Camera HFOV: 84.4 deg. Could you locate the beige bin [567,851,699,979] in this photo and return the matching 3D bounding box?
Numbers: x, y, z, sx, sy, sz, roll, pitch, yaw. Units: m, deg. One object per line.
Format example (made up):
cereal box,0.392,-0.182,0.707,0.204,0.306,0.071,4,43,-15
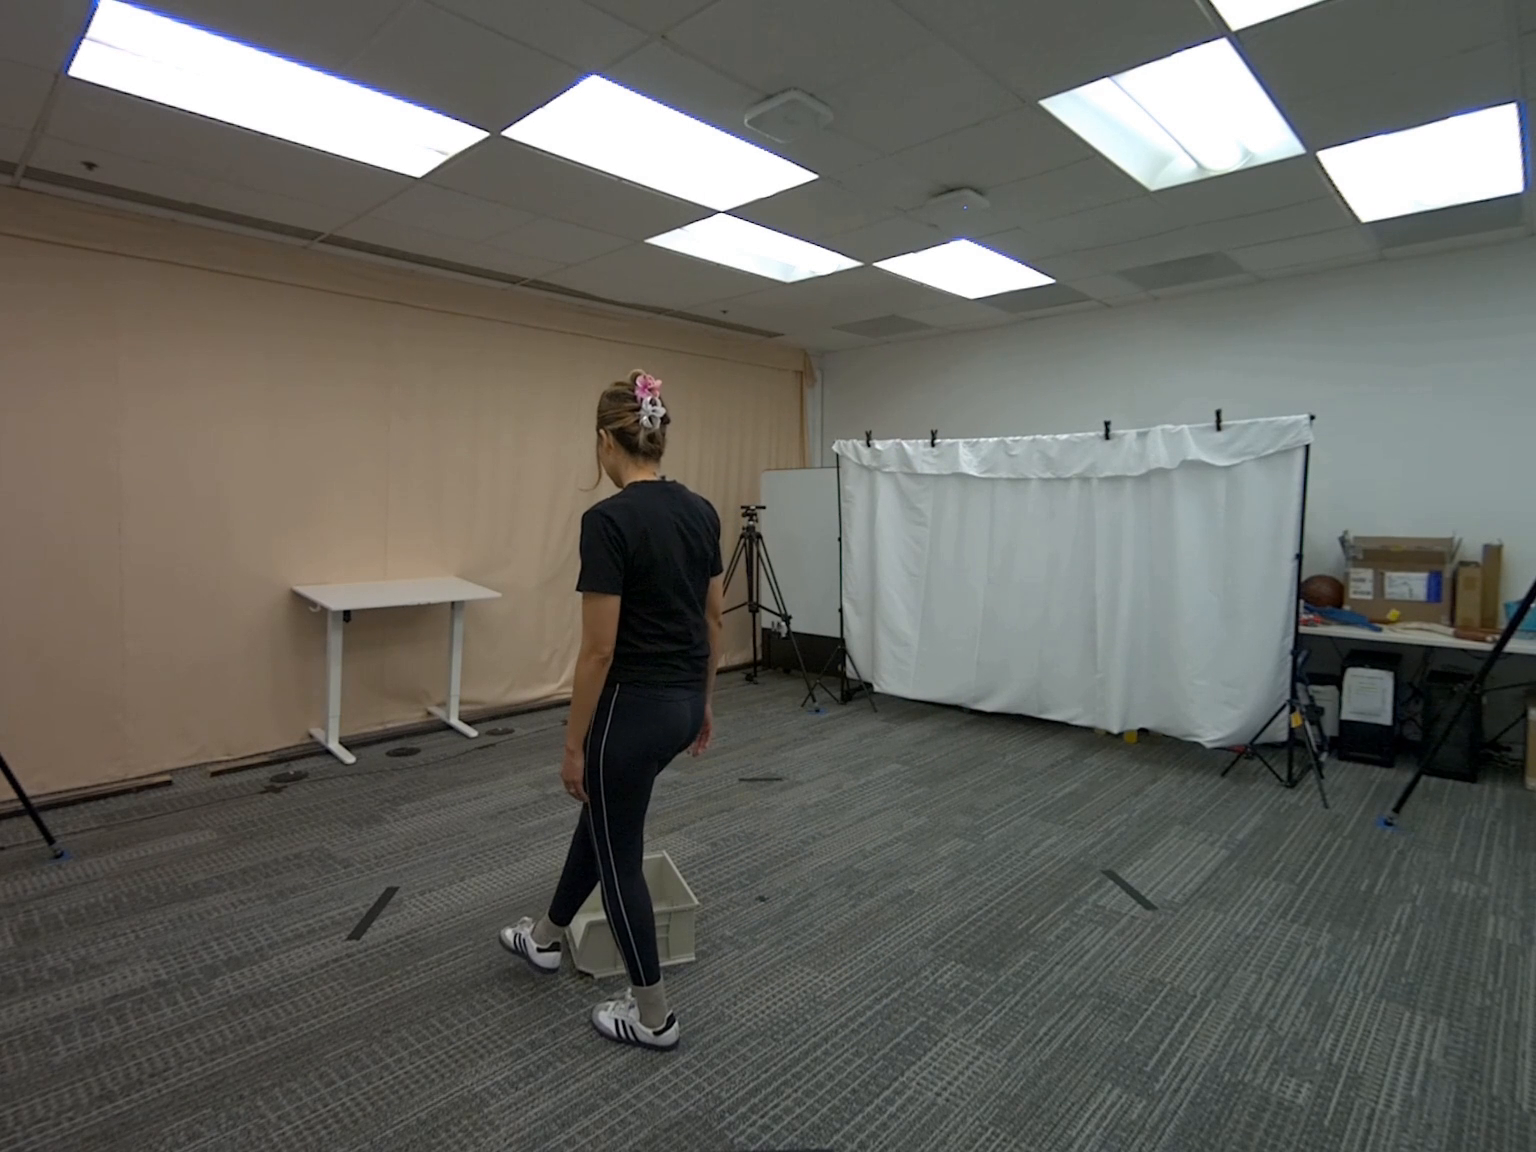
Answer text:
beige bin,-0.462,1.080,2.709,0.370,0.189,0.431,0,4,-20
